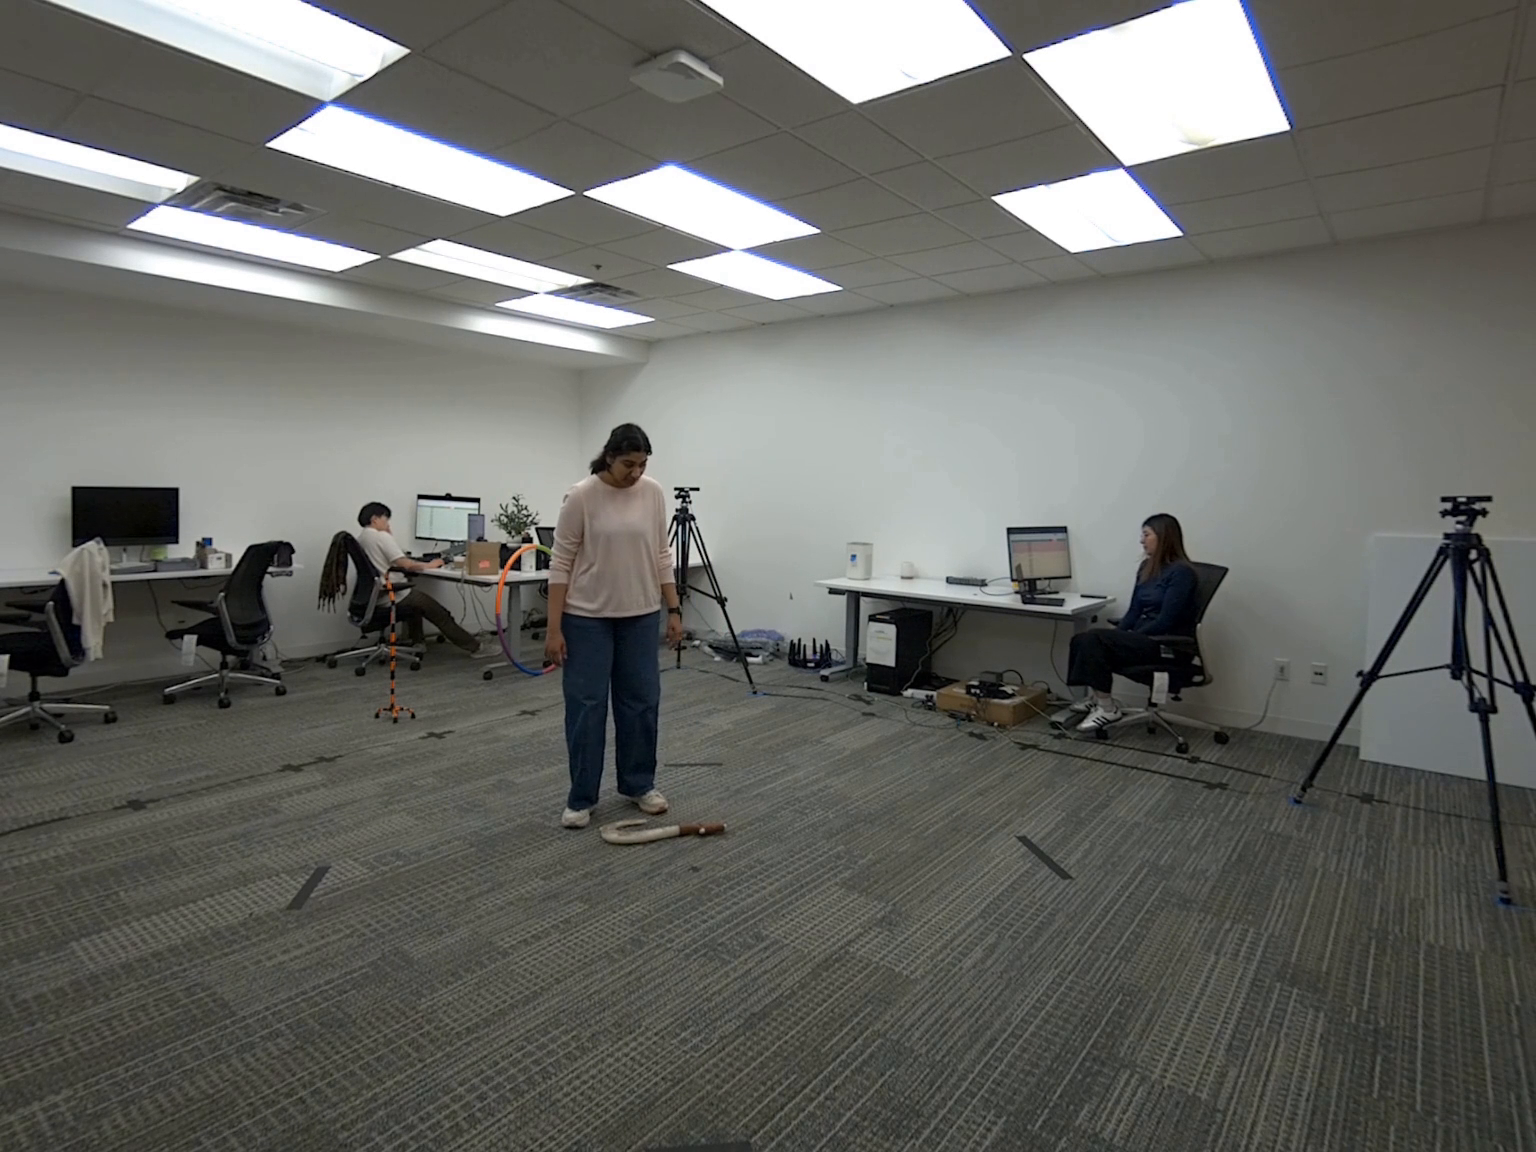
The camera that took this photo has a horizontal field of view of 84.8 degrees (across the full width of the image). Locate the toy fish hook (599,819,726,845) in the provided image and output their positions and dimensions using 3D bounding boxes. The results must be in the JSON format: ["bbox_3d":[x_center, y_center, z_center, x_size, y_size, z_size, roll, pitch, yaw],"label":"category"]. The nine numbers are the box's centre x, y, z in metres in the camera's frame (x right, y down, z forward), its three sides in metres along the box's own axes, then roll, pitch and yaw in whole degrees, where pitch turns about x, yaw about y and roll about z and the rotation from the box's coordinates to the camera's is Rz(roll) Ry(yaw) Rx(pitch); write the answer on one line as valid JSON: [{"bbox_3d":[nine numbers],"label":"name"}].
[{"bbox_3d":[-0.429,1.010,3.430,0.499,0.048,0.229,-1,7,-15],"label":"toy fish hook"}]
